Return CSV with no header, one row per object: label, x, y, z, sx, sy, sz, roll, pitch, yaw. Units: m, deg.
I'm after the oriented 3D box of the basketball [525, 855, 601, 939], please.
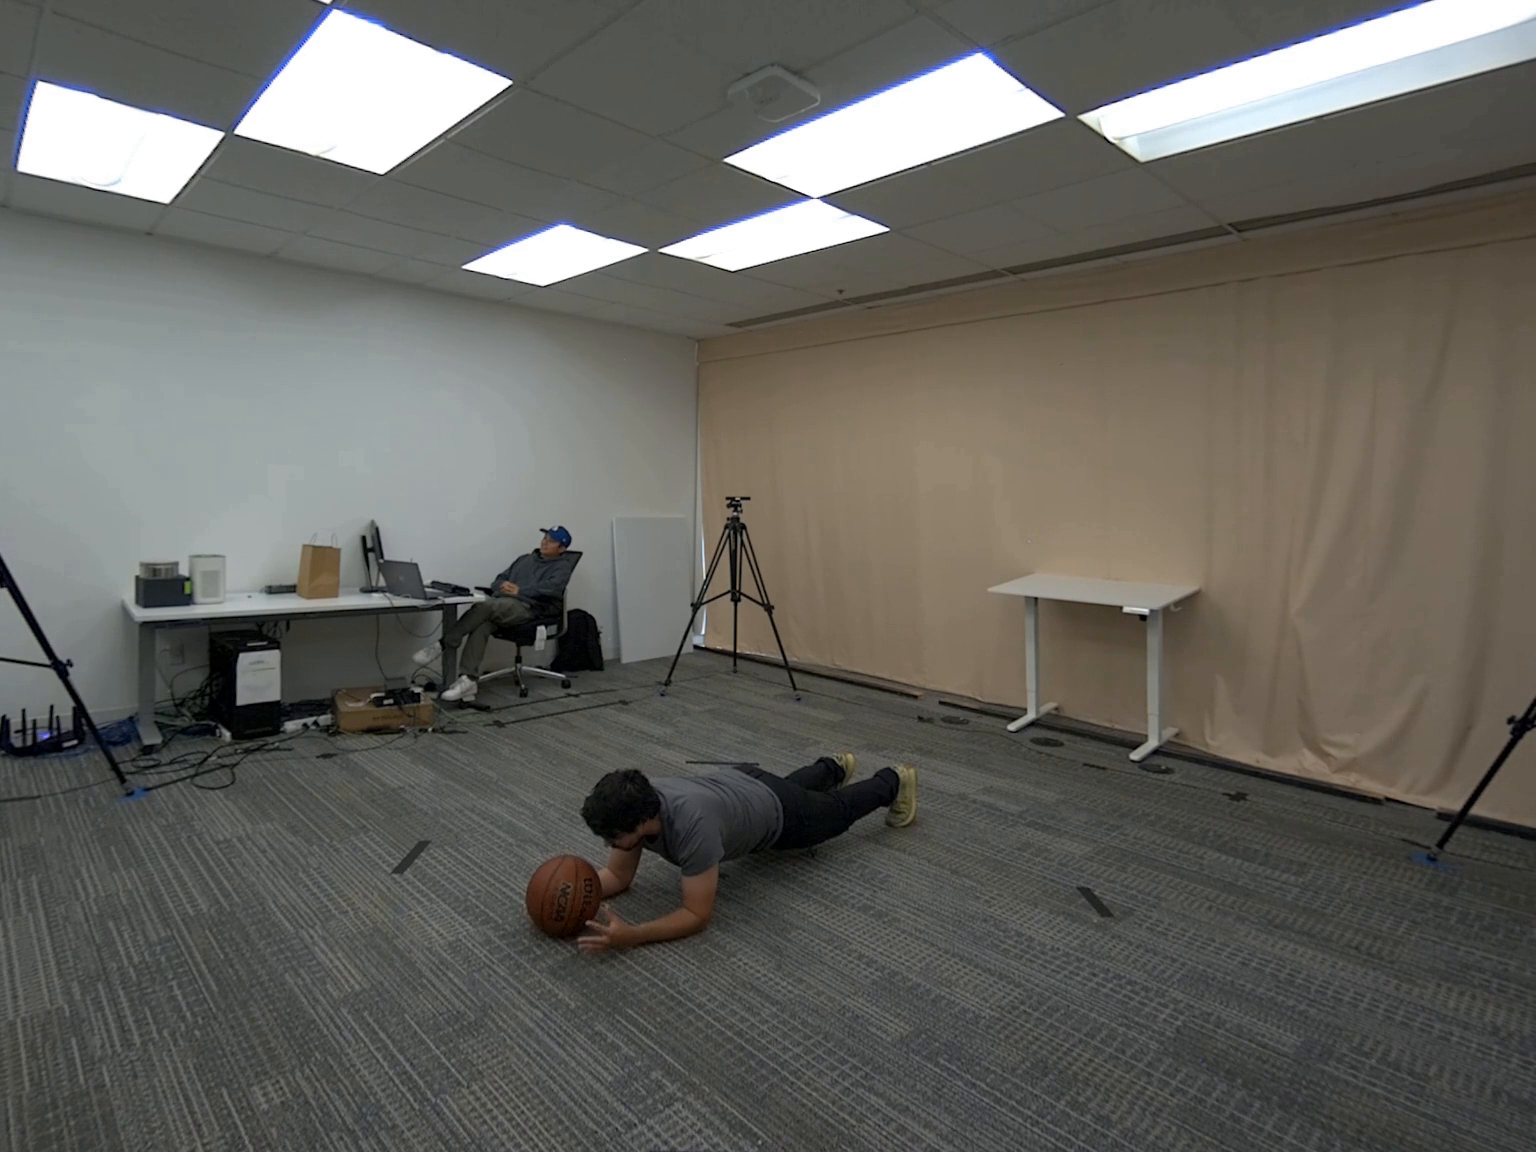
basketball,-0.643,1.009,2.683,0.236,0.235,0.237,1,4,-1
